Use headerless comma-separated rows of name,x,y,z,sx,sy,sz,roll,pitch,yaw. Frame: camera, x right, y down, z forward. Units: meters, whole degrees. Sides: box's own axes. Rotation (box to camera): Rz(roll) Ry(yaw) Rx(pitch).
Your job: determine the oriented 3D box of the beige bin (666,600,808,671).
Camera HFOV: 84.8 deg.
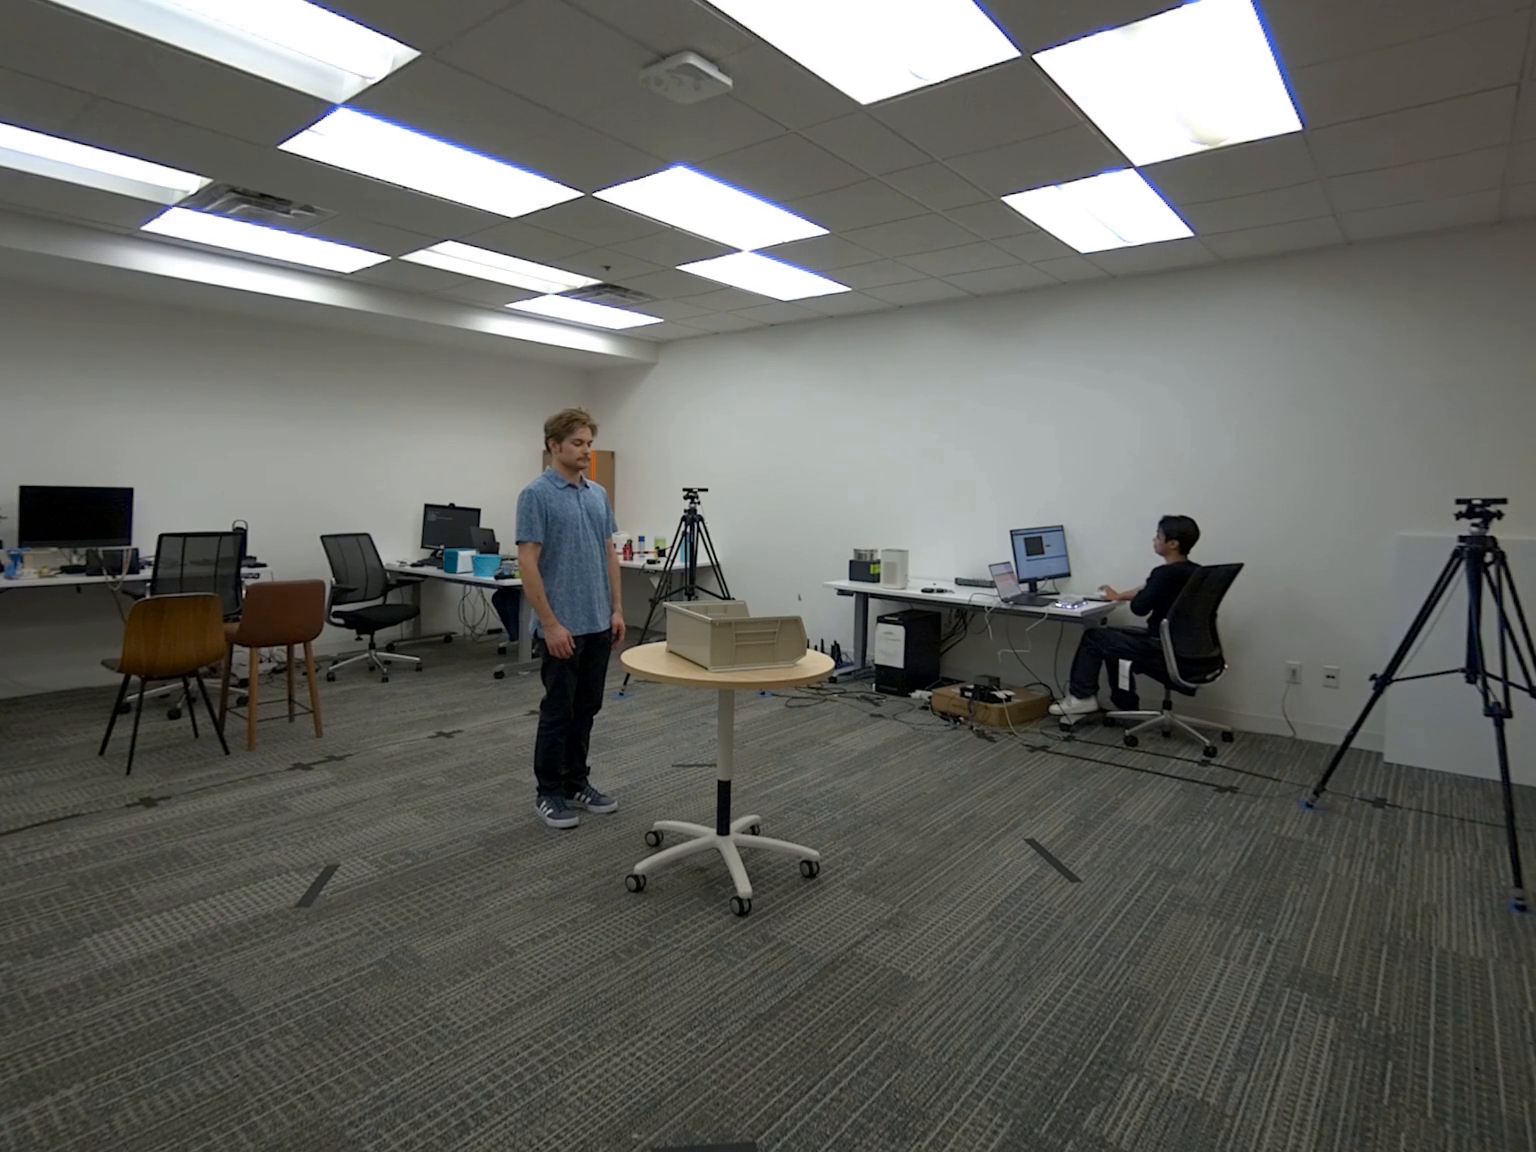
beige bin,-0.133,0.203,3.044,0.368,0.188,0.434,-2,6,-27
